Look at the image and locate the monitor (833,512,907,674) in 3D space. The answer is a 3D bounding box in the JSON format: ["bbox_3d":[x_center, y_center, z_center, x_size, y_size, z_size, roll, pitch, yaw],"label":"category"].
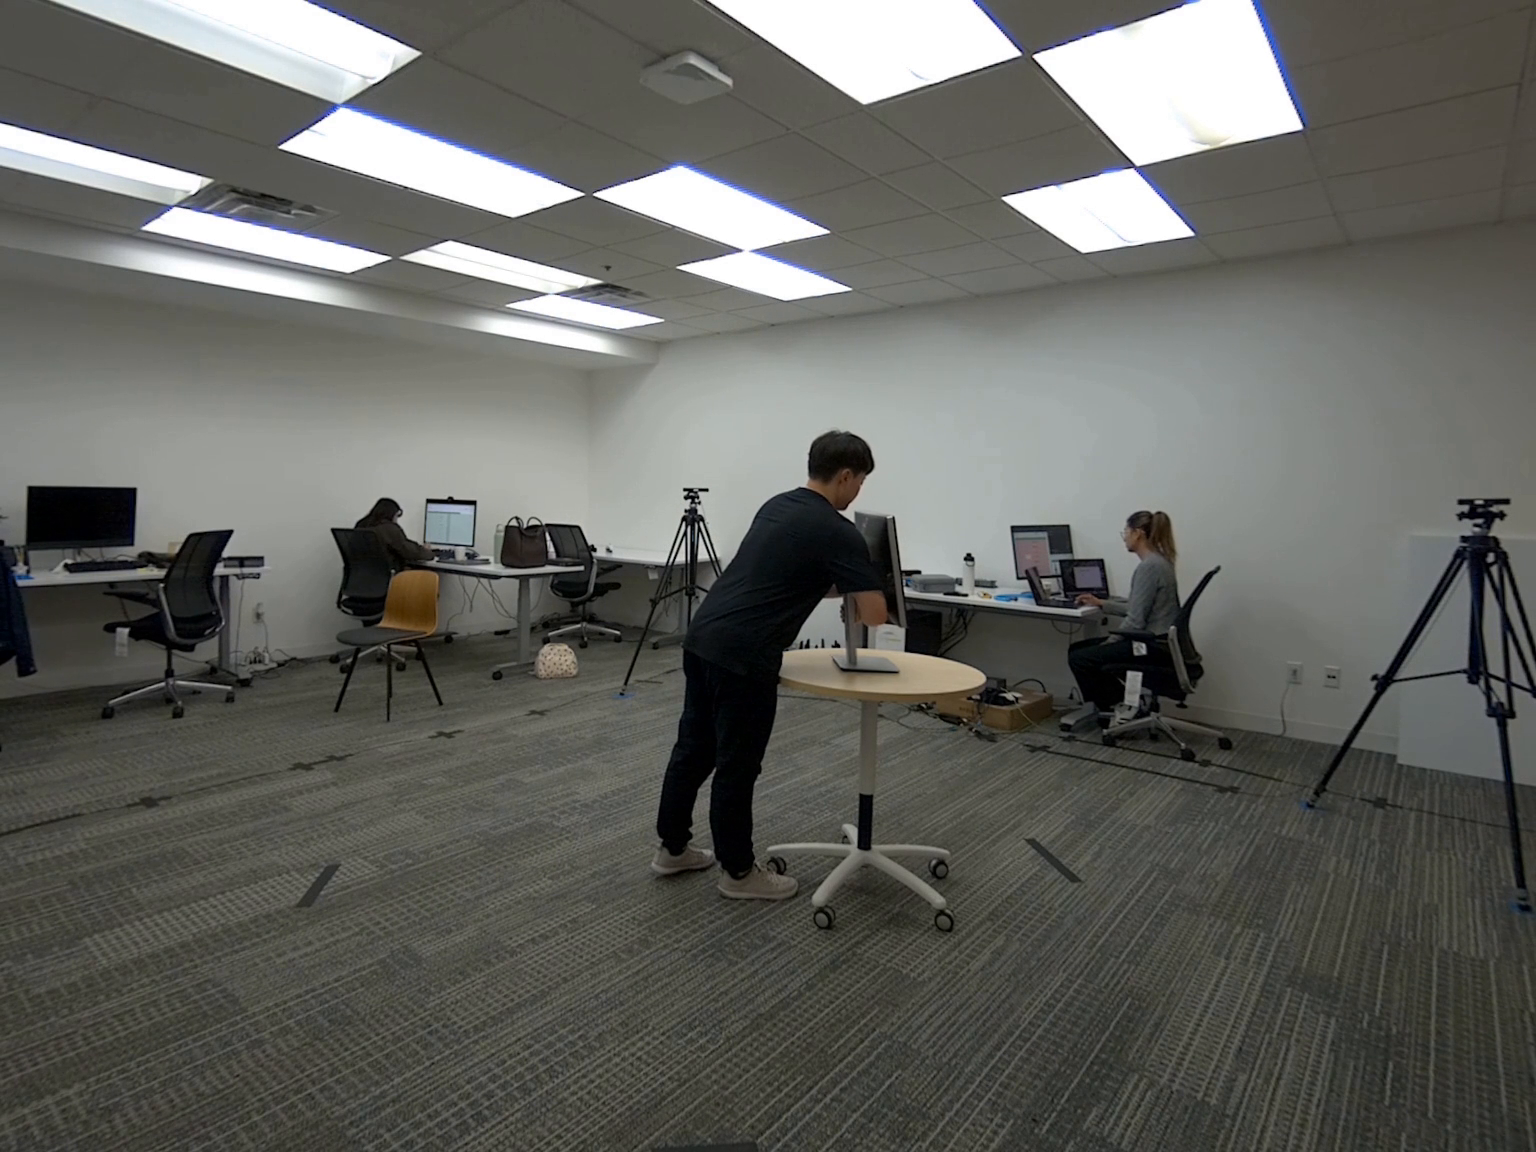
[{"bbox_3d":[0.338,0.055,2.993,0.186,0.520,0.544,2,5,-6],"label":"monitor"}]
